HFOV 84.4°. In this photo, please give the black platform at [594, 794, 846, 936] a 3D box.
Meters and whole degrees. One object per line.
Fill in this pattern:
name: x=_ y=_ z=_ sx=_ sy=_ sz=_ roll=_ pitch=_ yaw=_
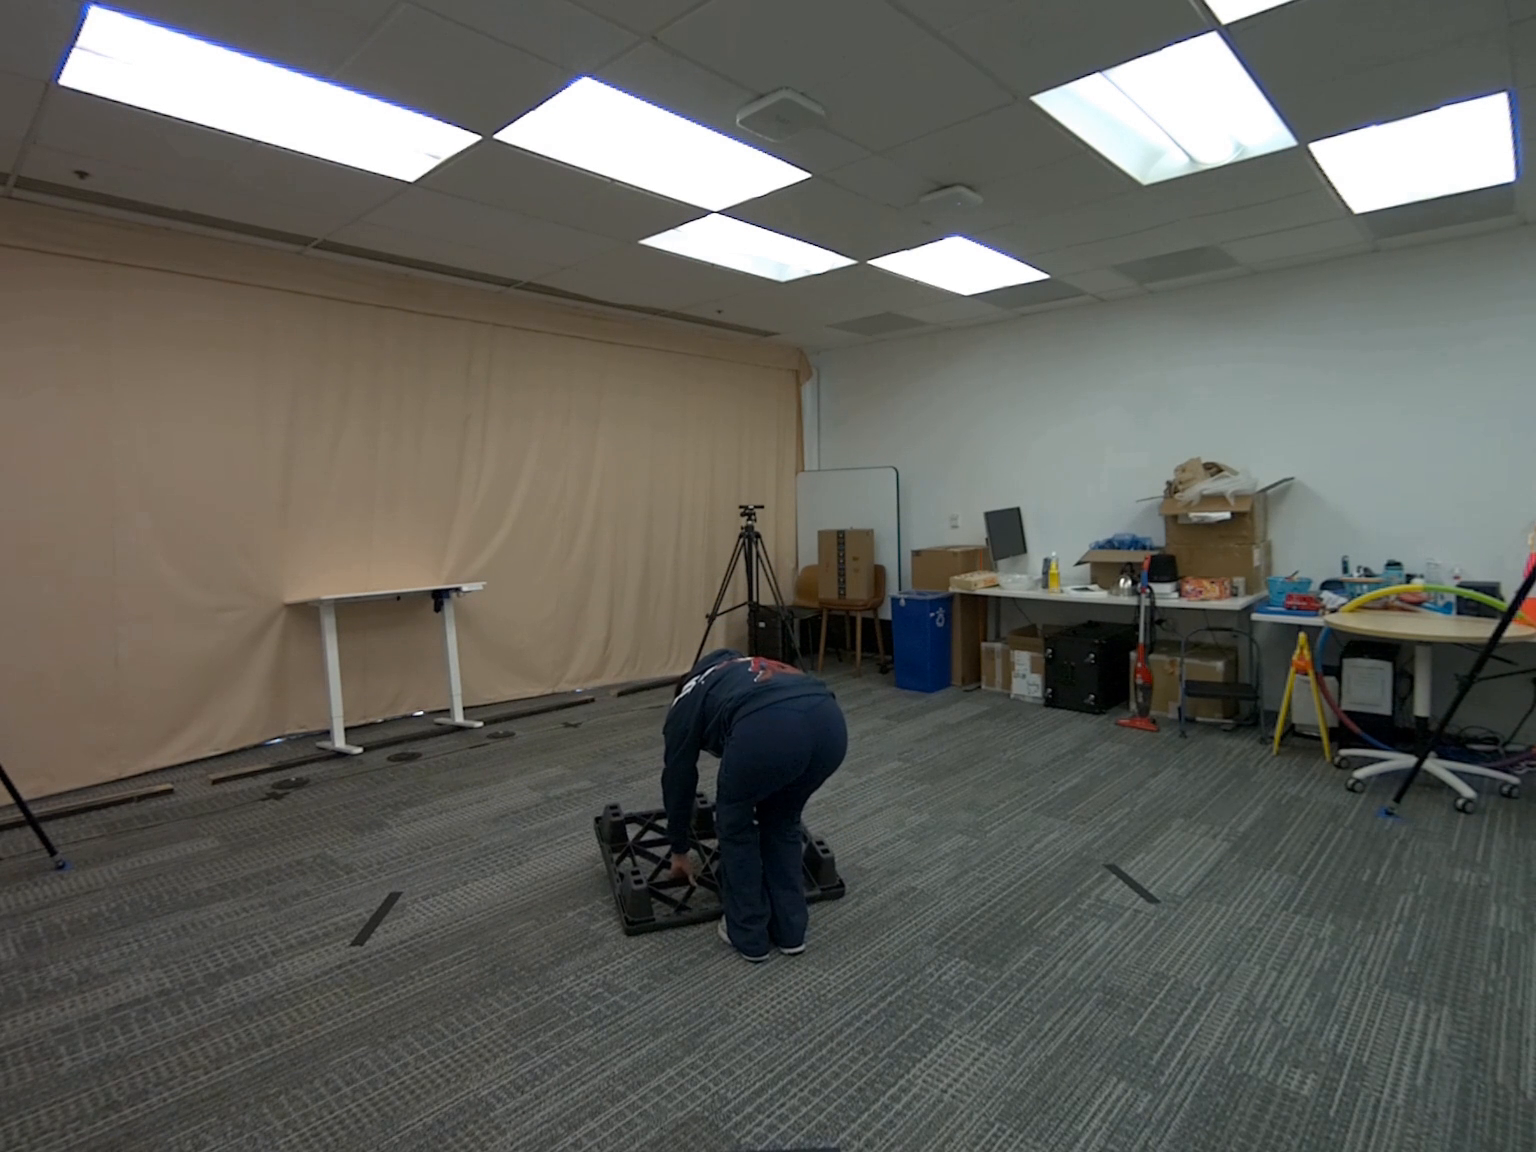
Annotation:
black platform: x=-0.192 y=0.988 z=3.094 sx=0.790 sy=0.142 sz=0.623 roll=-3 pitch=21 yaw=-20
